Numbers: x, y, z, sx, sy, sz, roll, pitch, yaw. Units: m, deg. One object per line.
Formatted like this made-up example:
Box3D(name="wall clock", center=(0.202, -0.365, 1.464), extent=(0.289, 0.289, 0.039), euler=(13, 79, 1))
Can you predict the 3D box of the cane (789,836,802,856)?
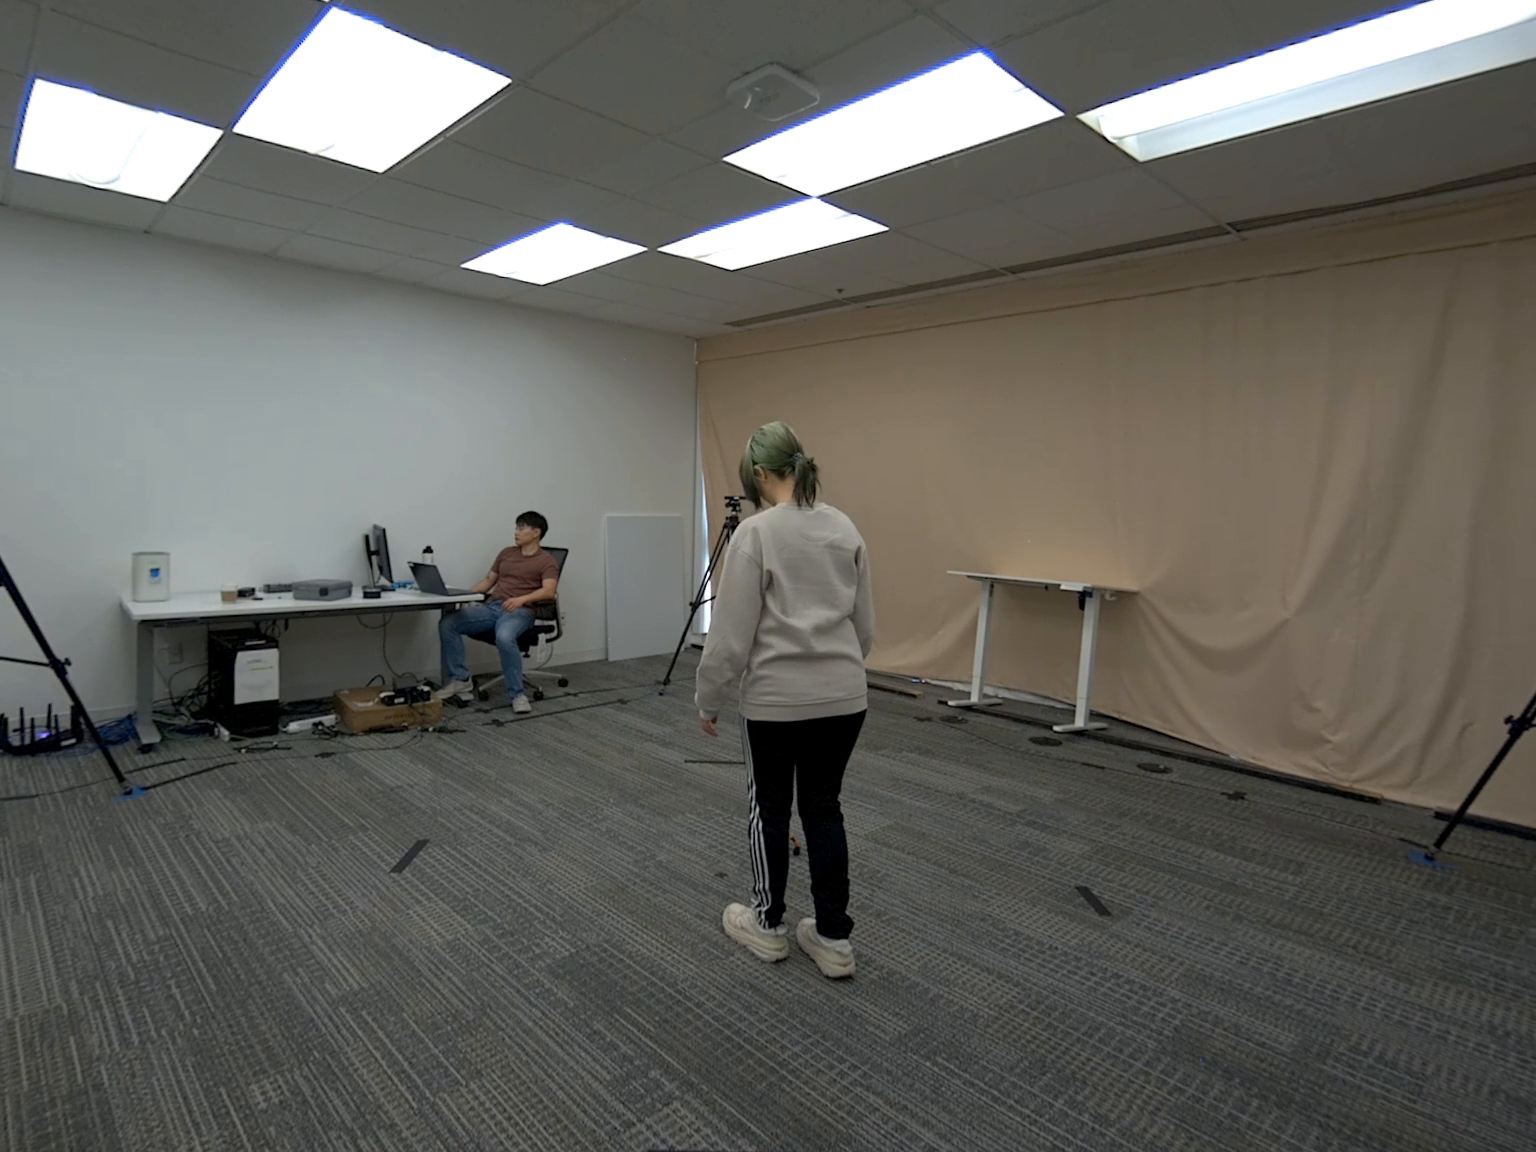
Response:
Box3D(name="cane", center=(0.109, 0.677, 3.101), extent=(0.150, 0.893, 0.212), euler=(1, 36, -15))
